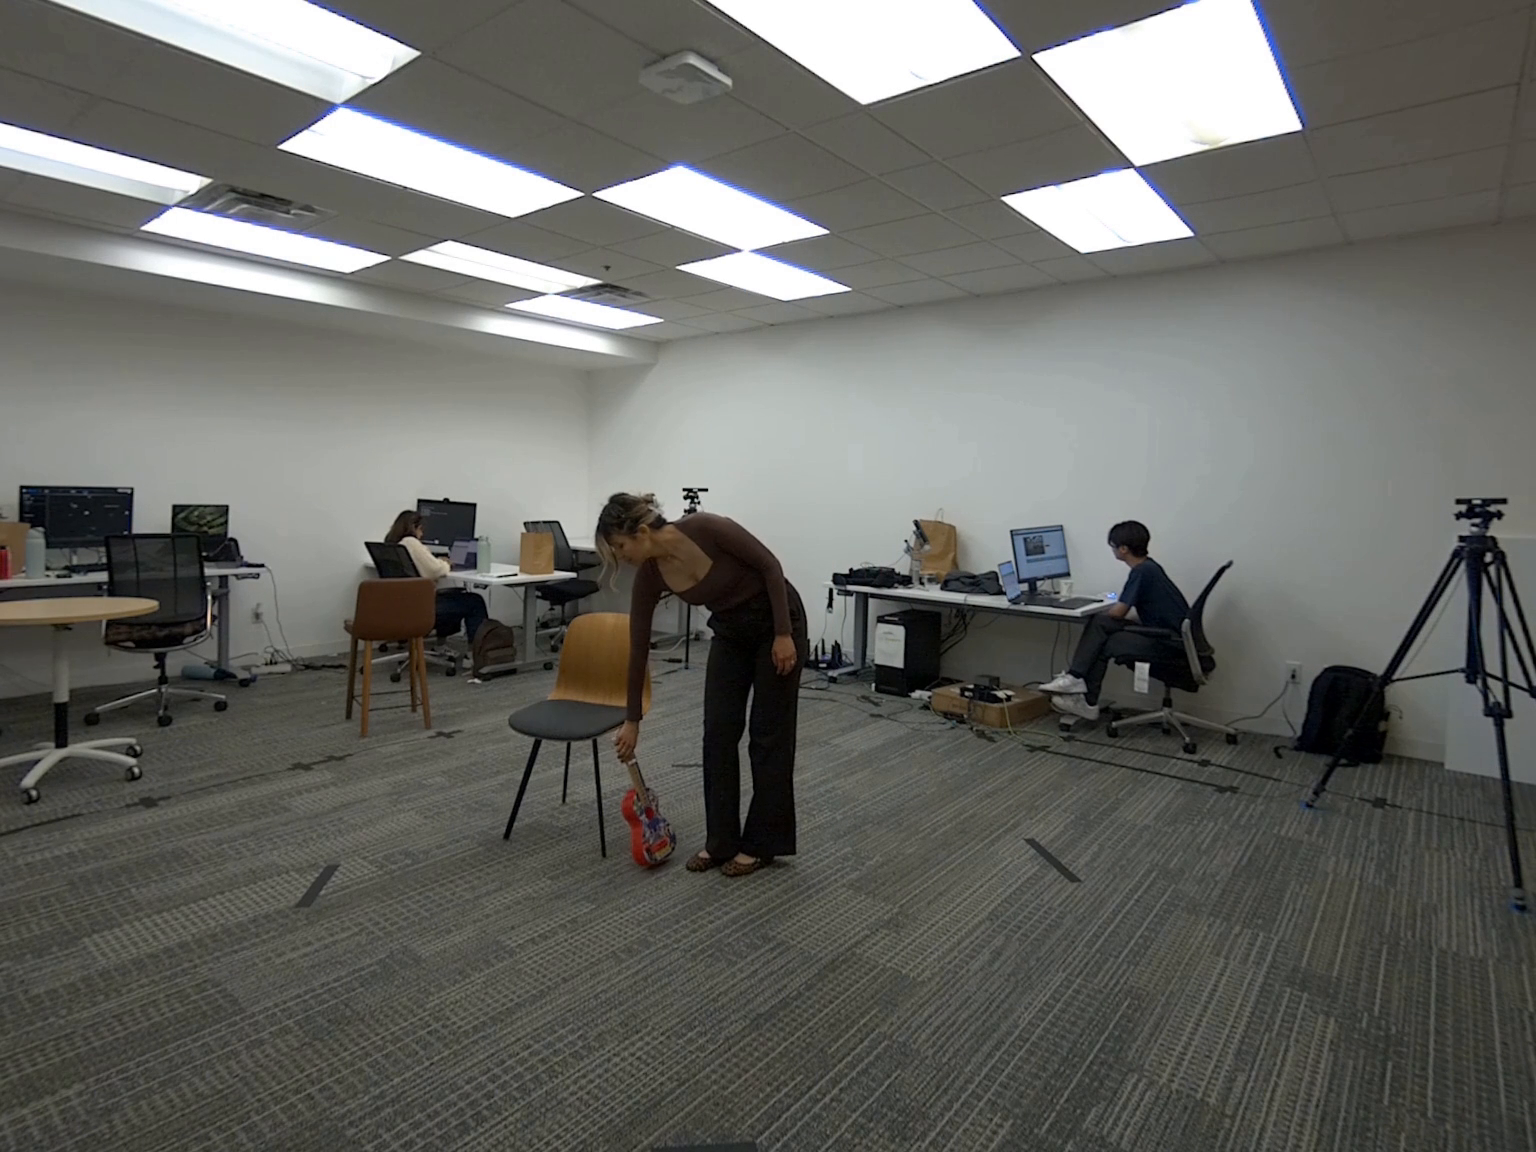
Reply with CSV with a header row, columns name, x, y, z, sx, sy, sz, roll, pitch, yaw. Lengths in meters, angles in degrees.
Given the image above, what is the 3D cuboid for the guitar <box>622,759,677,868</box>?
name,x,y,z,sx,sy,sz,roll,pitch,yaw
guitar,-0.476,0.811,3.186,0.072,0.505,0.187,-22,-13,31
